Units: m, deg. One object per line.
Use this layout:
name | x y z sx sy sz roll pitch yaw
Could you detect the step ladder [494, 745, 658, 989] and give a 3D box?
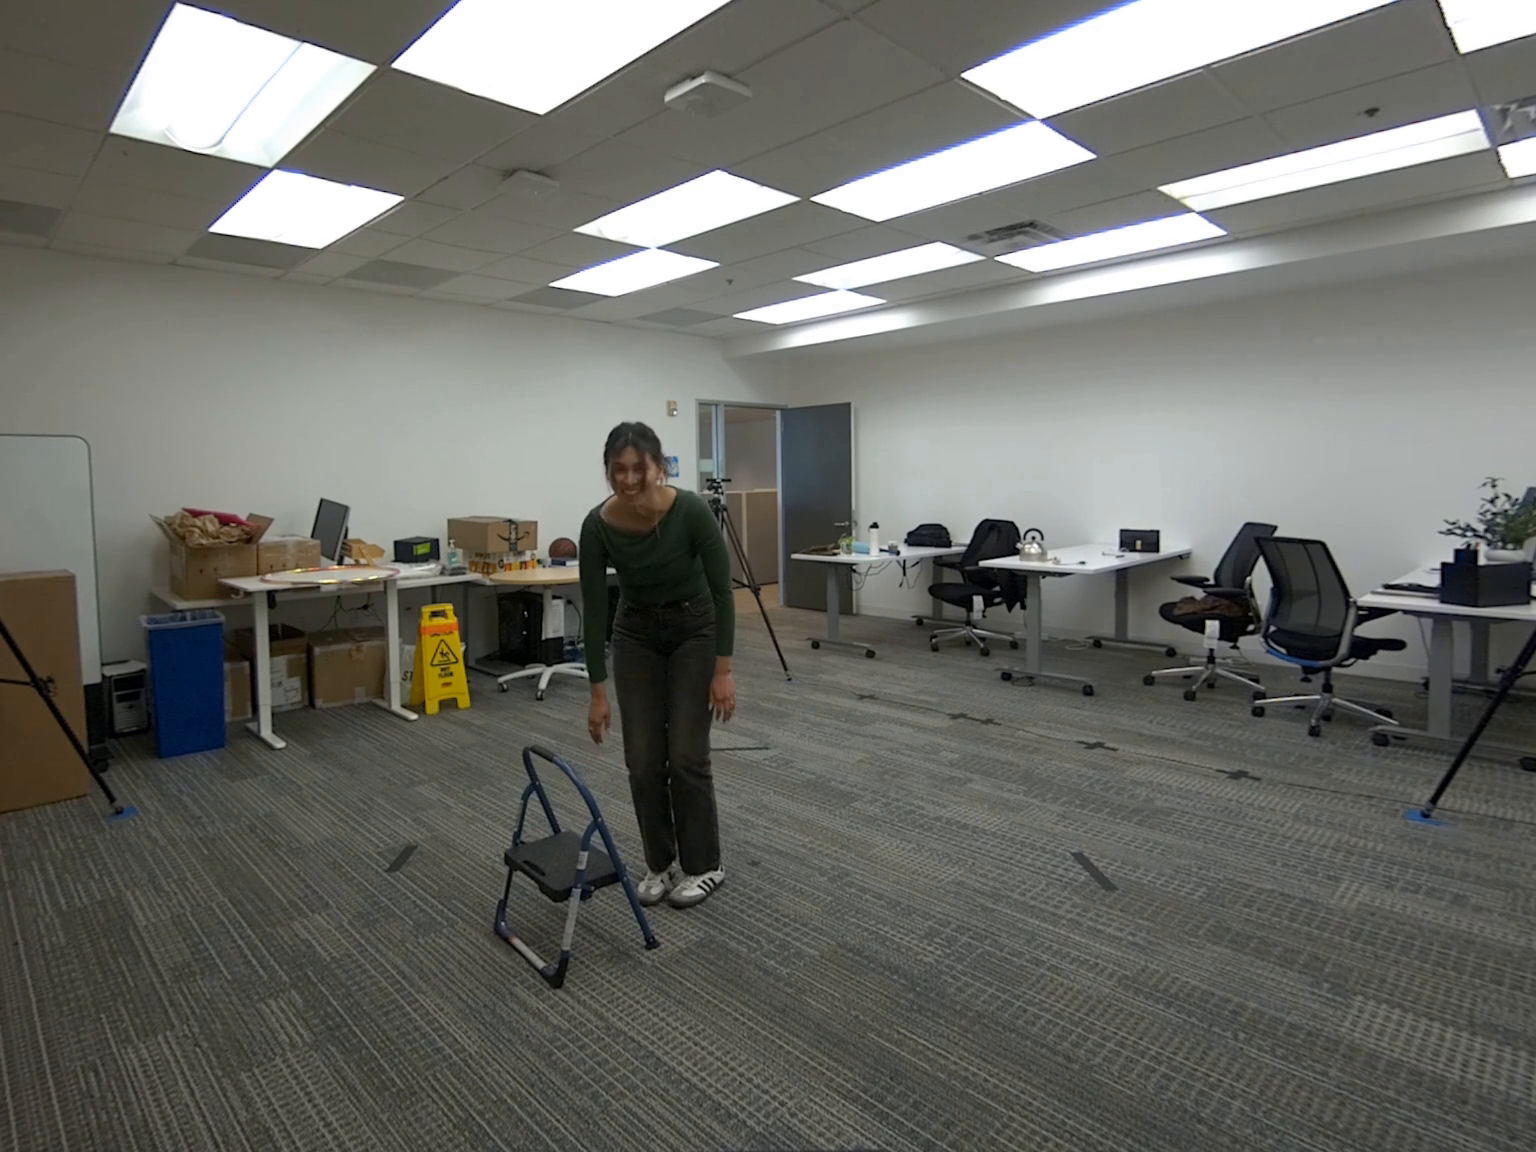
step ladder | -0.597 0.811 2.602 0.340 0.604 0.444 -5 6 -41
